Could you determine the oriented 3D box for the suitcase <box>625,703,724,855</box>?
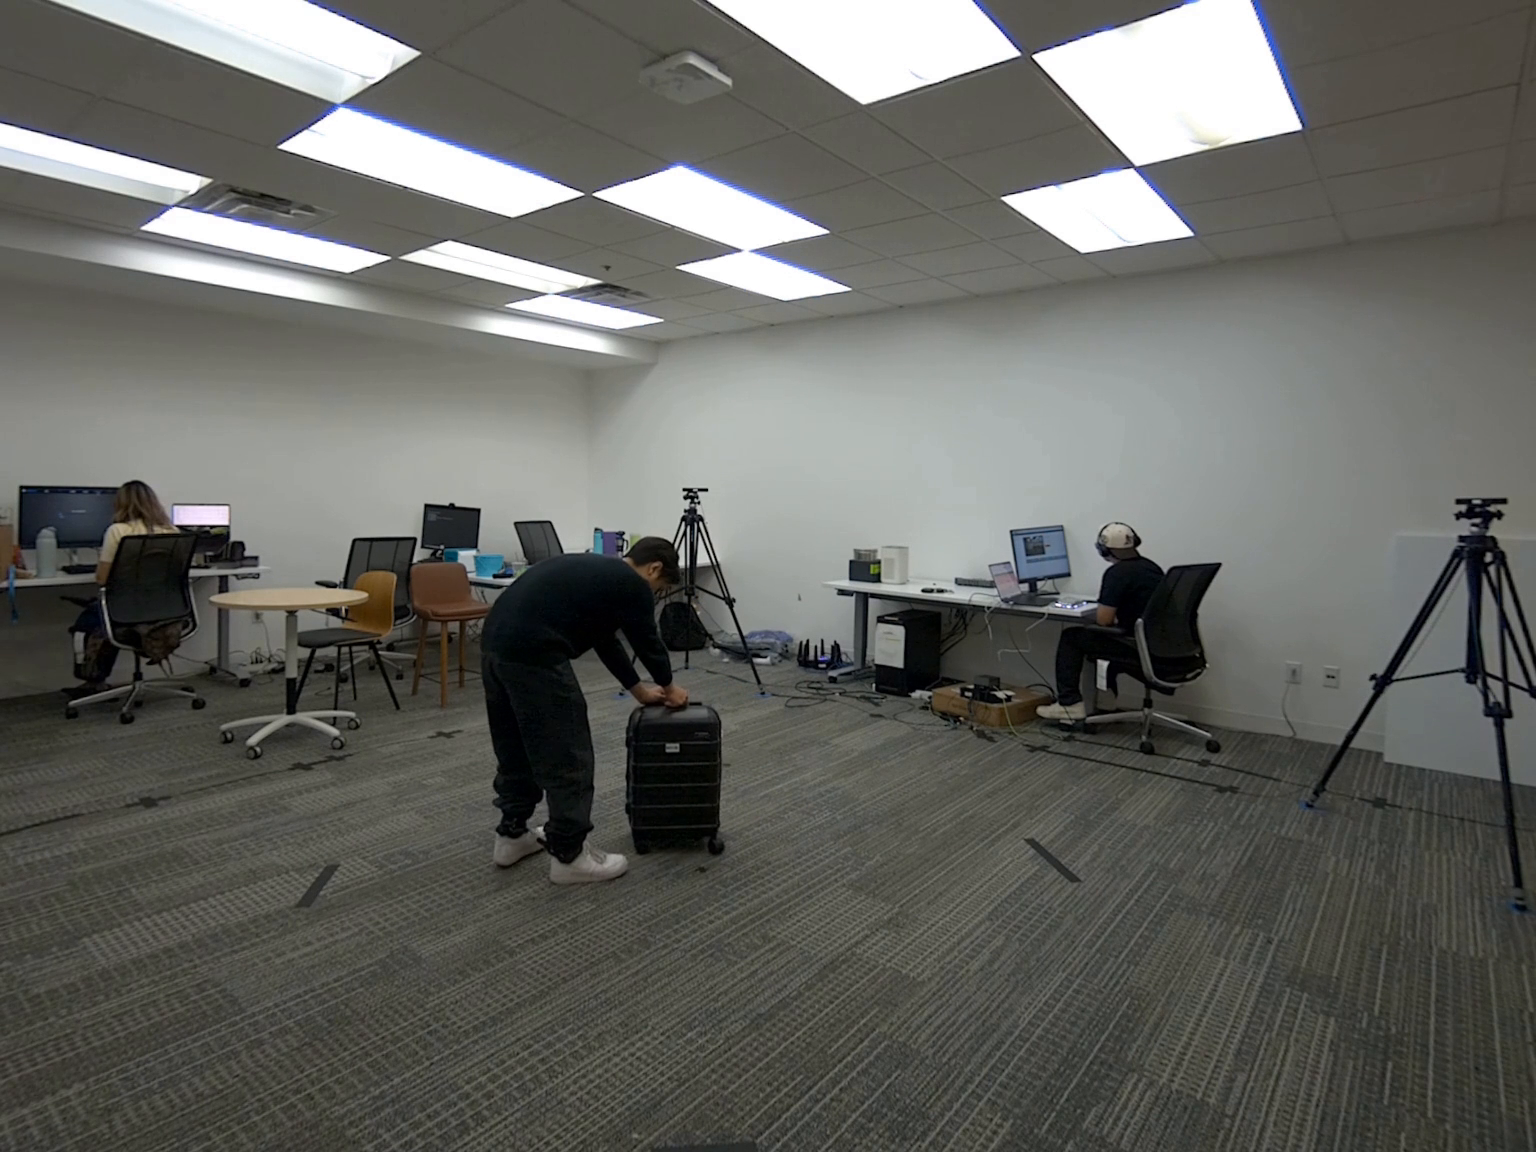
[{"bbox_3d":[-0.374,0.769,3.356,0.372,0.547,0.252,-2,4,-9],"label":"suitcase"}]
